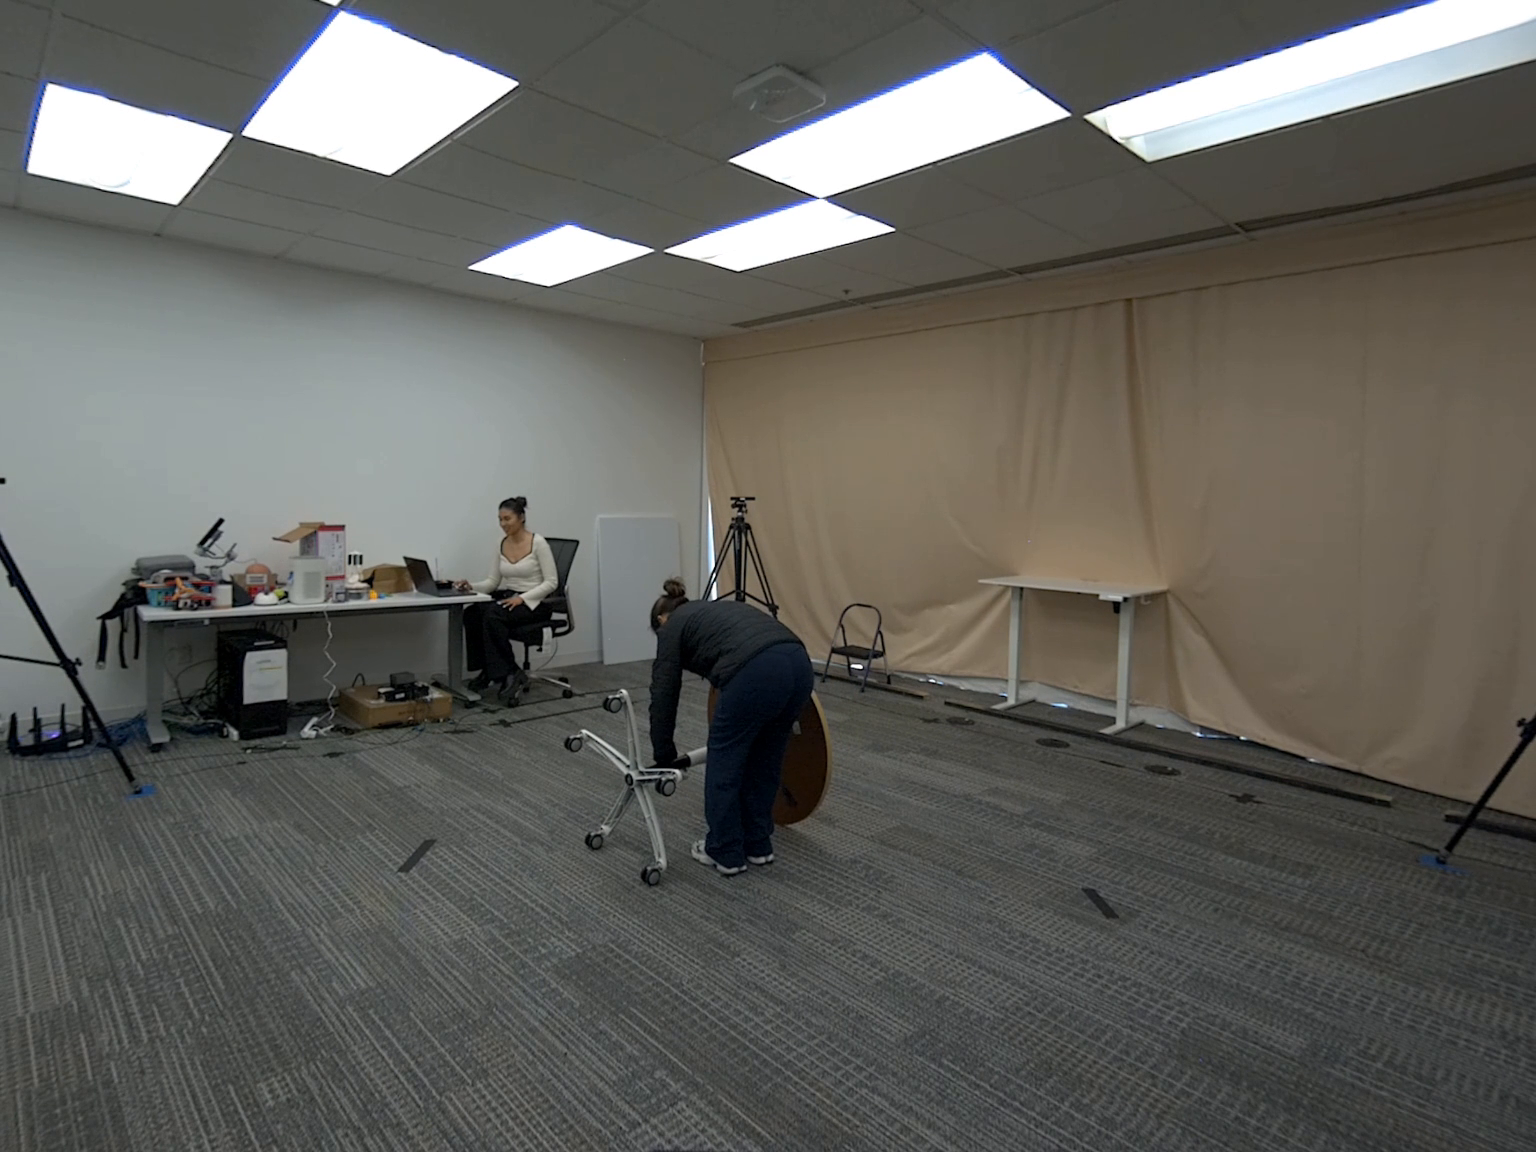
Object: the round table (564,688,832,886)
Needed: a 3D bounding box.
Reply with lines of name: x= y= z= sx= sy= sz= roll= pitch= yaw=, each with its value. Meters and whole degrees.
round table: x=-0.289 y=0.745 z=3.358 sx=0.771 sy=0.780 sz=0.805 roll=-10 pitch=10 yaw=-42
